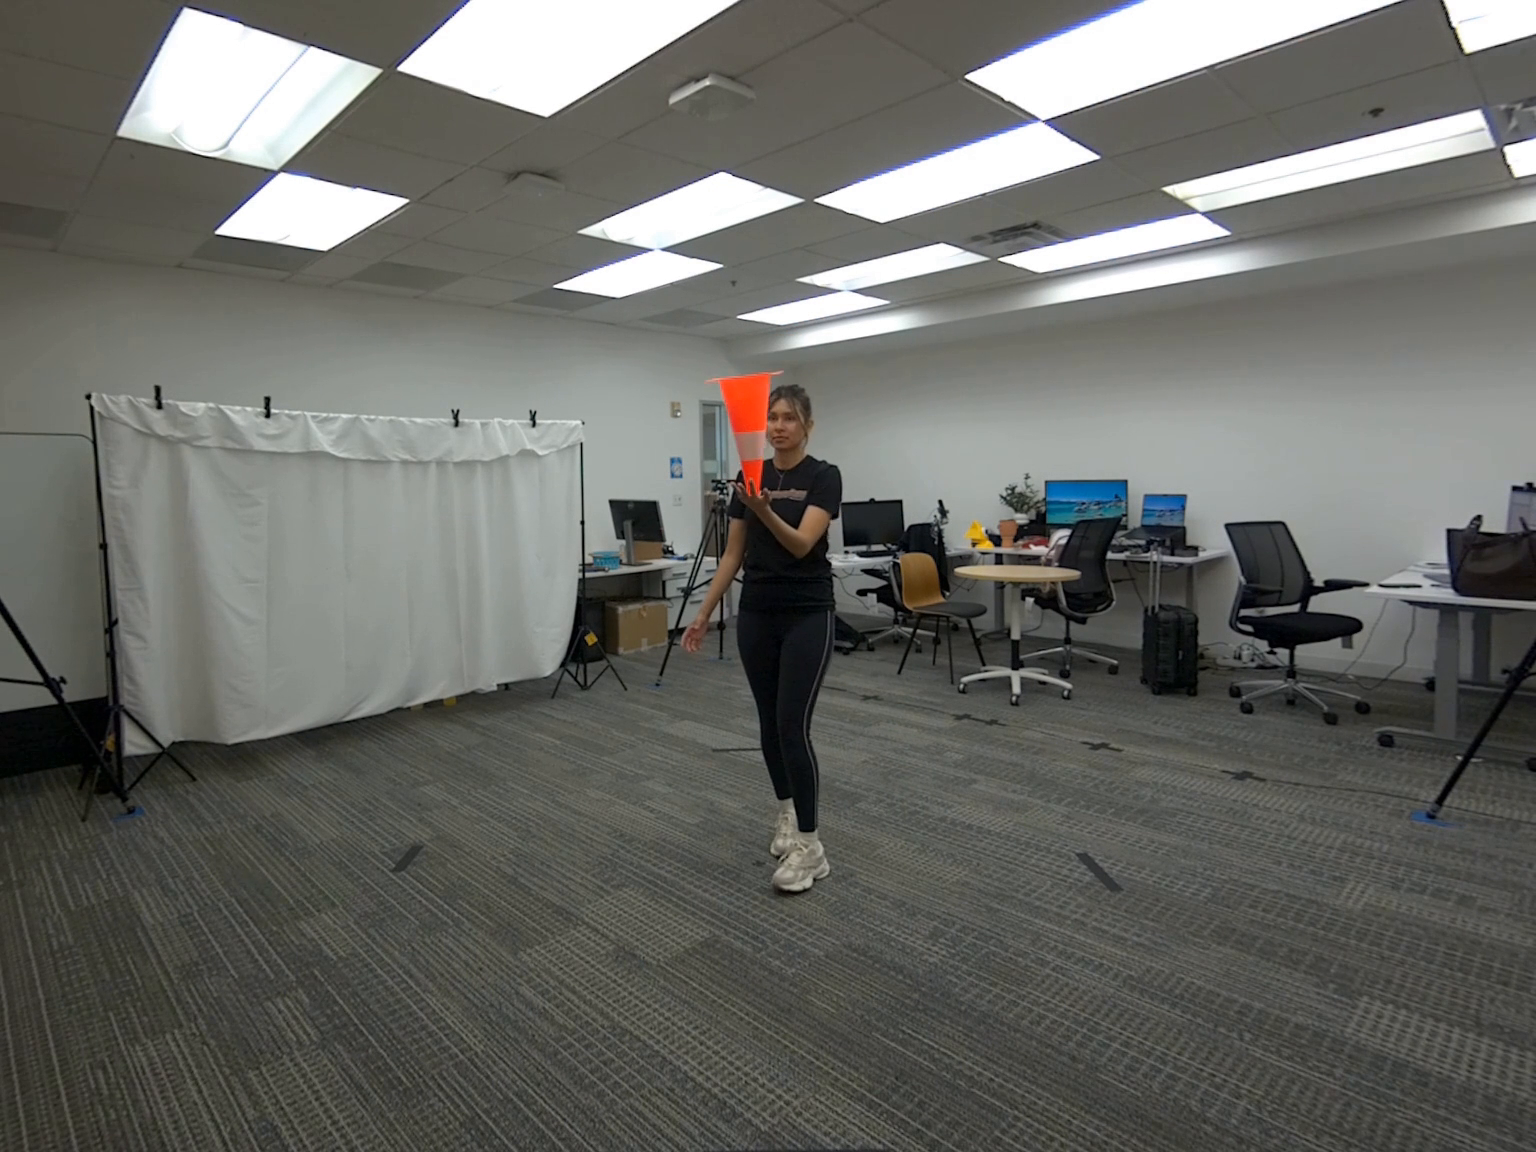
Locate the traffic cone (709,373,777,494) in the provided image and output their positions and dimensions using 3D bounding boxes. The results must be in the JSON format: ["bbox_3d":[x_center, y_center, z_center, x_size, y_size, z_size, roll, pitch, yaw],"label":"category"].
[{"bbox_3d":[-0.056,-0.428,2.641,0.208,0.380,0.202,-1,10,24],"label":"traffic cone"}]
